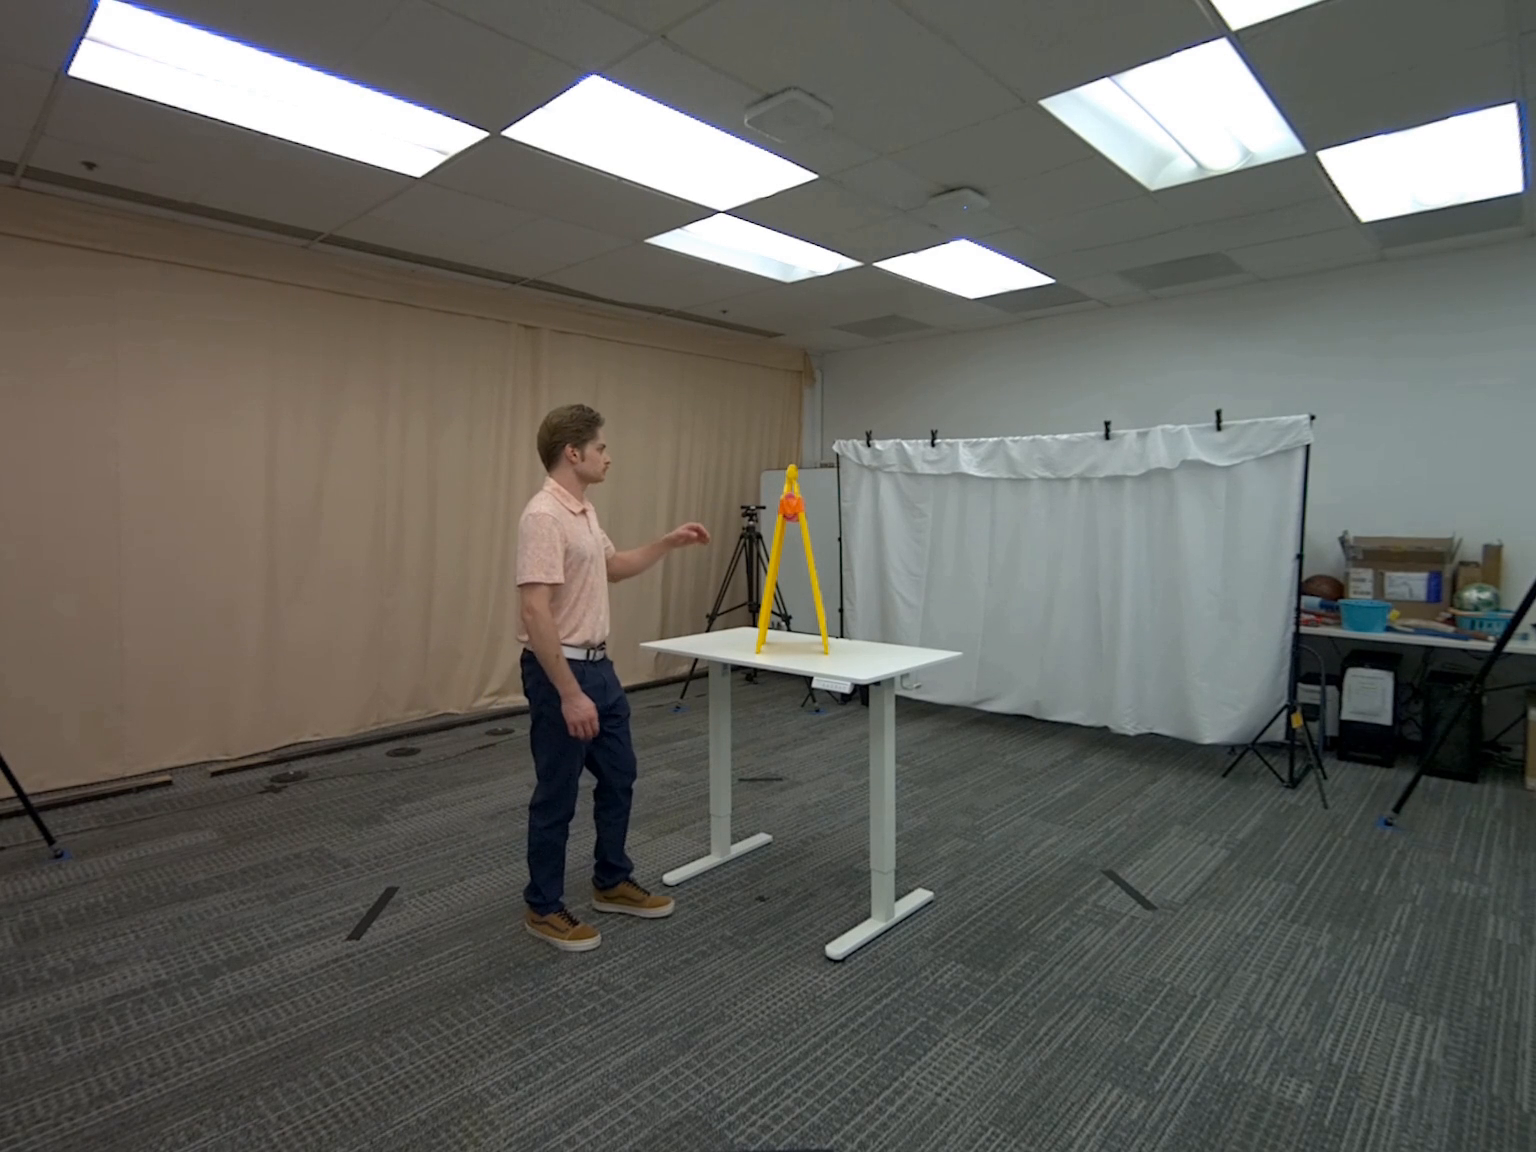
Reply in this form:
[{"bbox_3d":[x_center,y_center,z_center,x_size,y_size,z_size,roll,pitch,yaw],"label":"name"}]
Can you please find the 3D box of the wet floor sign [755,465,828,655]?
[{"bbox_3d":[0.092,-0.065,3.002,0.291,0.645,0.281,-1,2,3],"label":"wet floor sign"}]
